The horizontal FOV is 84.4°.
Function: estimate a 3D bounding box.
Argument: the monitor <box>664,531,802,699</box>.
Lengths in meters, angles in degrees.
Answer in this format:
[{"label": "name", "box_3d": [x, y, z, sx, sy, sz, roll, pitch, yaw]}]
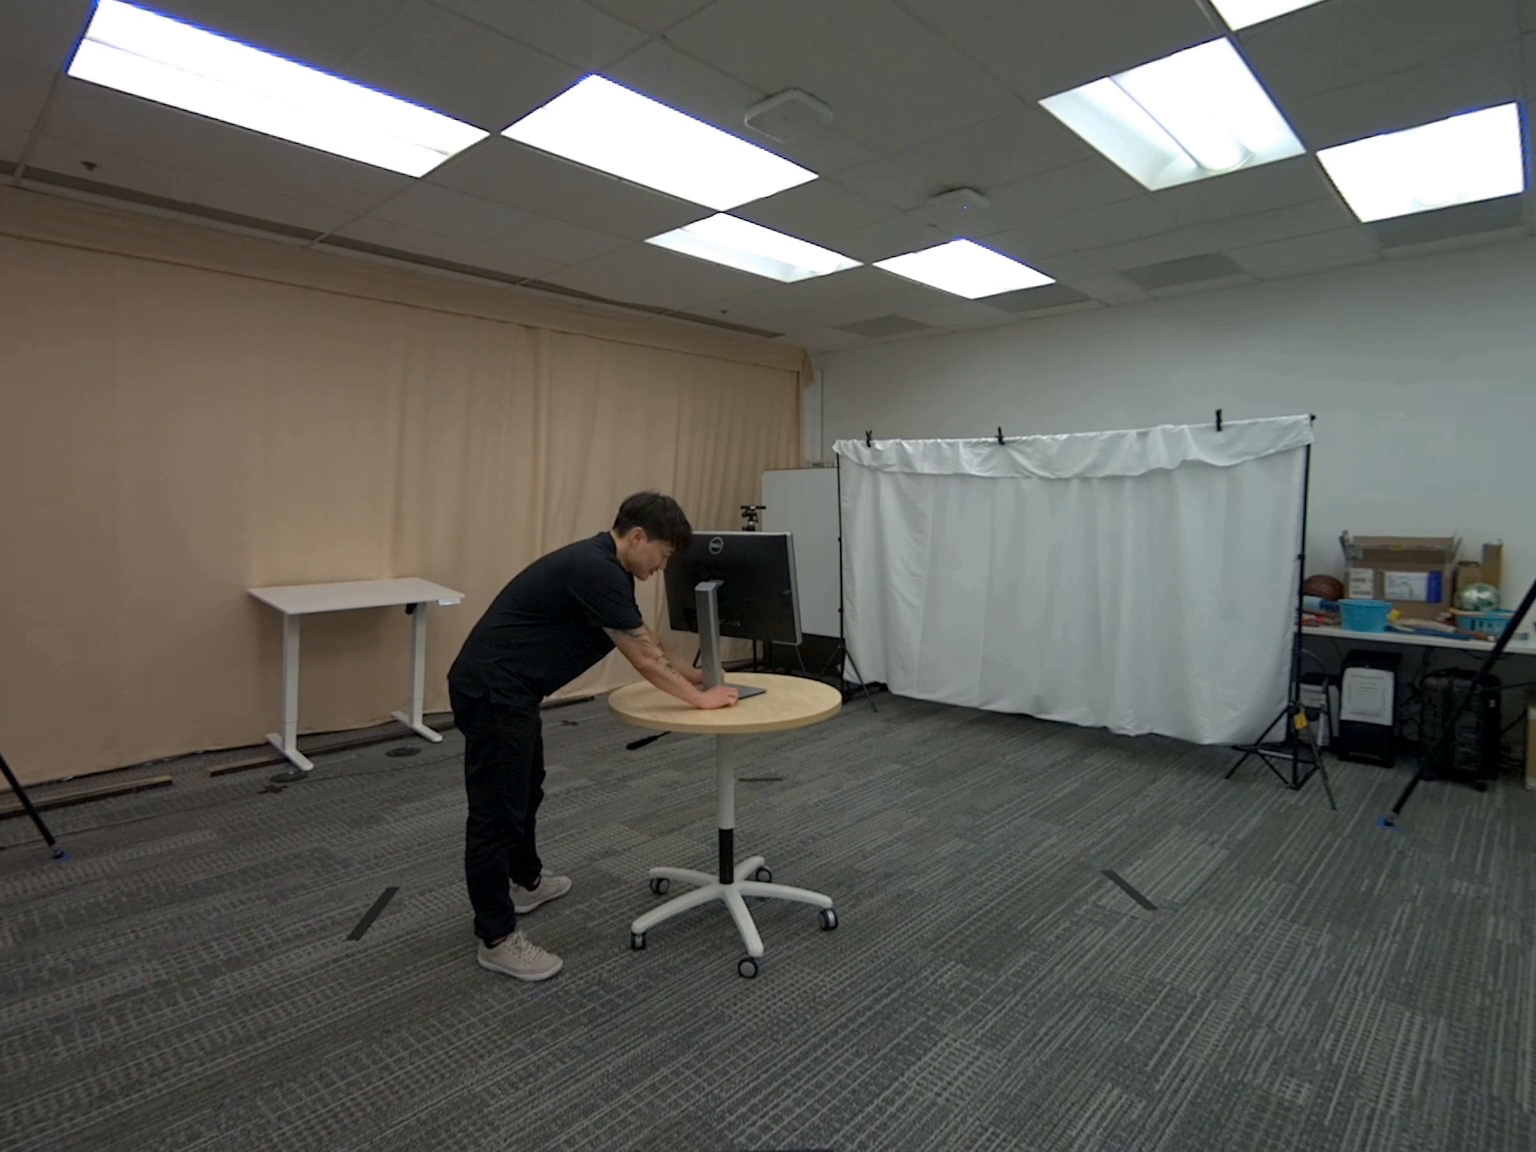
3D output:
[{"label": "monitor", "box_3d": [-0.156, 0.123, 2.805, 0.556, 0.522, 0.181, 3, 1, 37]}]
